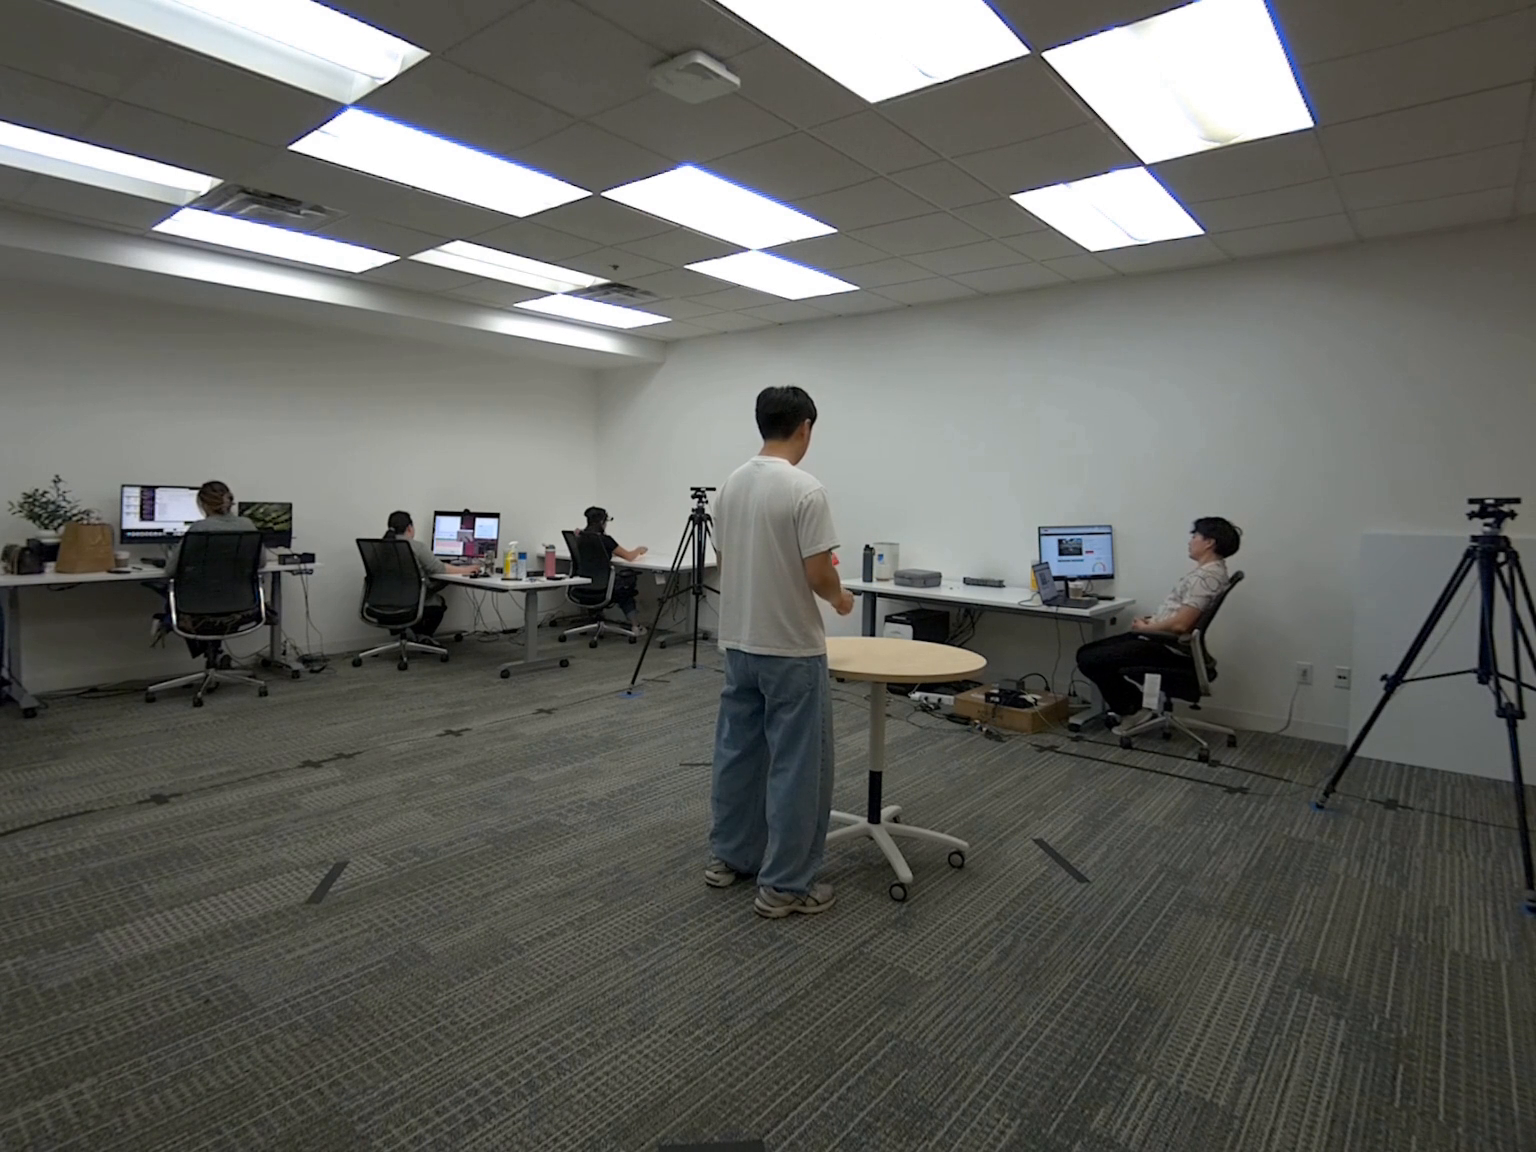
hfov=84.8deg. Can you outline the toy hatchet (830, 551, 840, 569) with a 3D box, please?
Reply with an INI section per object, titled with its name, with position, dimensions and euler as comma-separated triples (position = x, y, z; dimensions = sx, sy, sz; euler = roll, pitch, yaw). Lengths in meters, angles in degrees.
[toy hatchet]
position = 0.190, -0.038, 3.206
dimensions = 0.131, 0.029, 0.271
euler = 34, 41, -1
